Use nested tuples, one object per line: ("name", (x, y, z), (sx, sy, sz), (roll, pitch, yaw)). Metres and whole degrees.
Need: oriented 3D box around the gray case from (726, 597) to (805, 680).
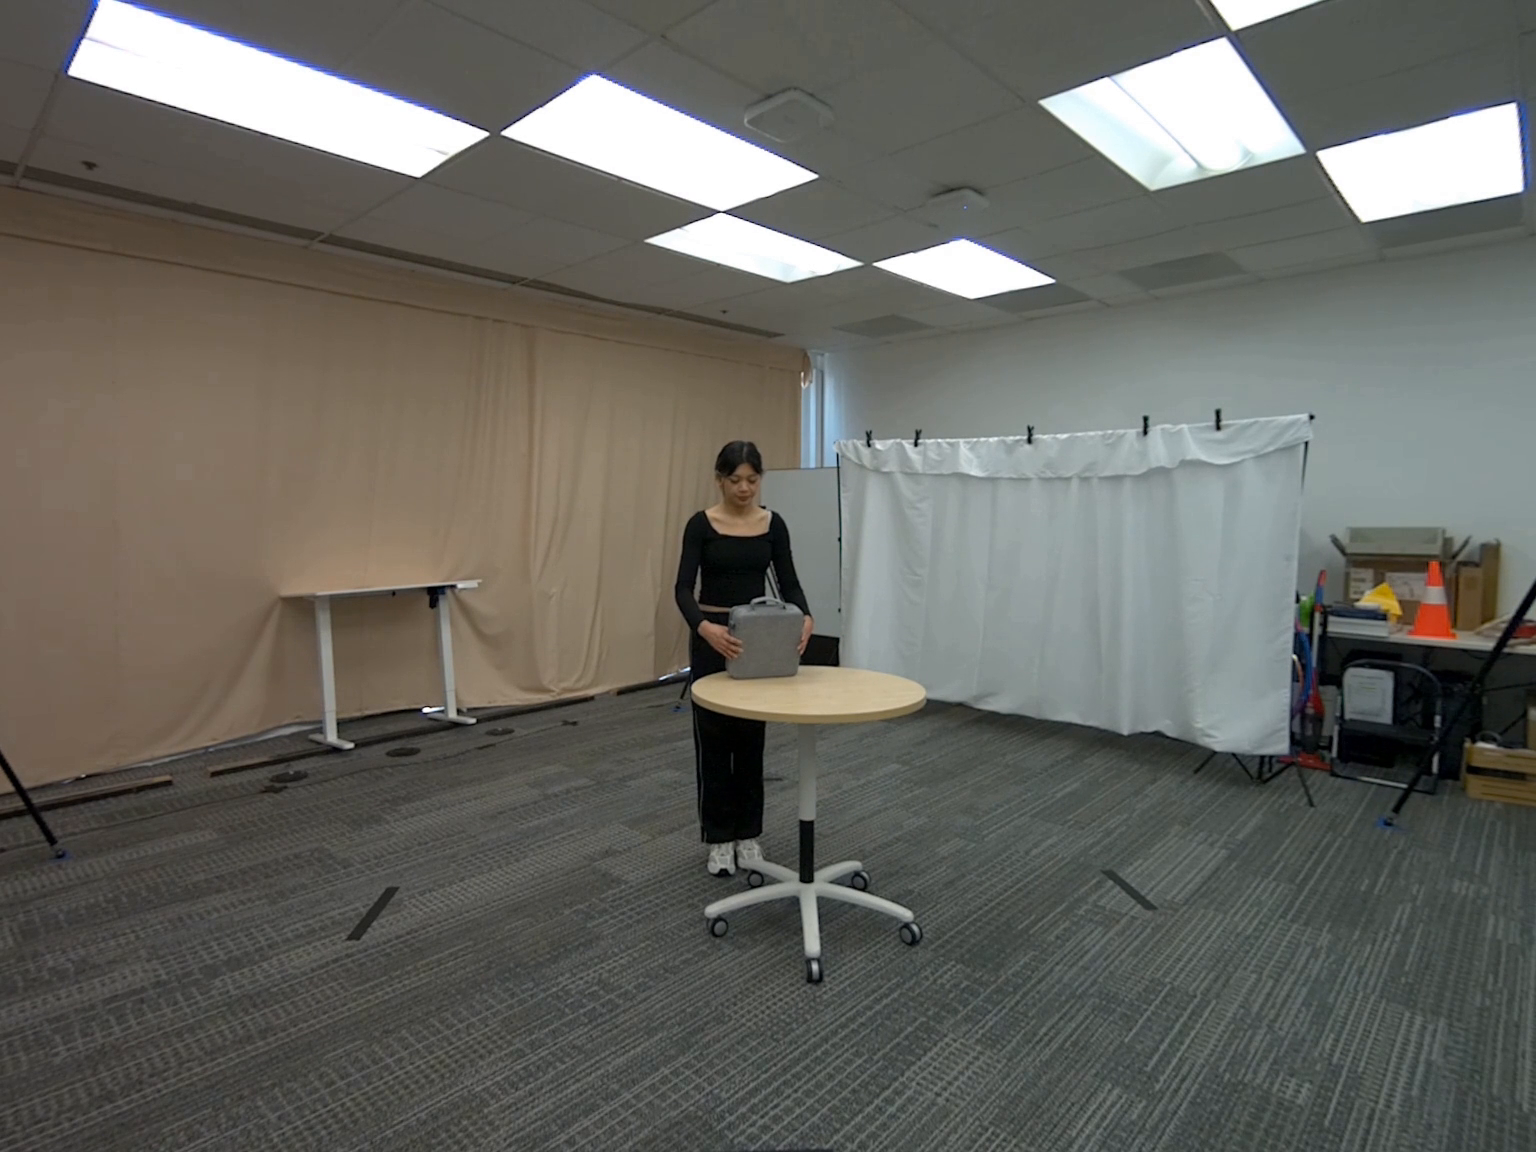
("gray case", (-0.006, 0.228, 2.943), (0.252, 0.258, 0.107), (-1, 16, -17))
